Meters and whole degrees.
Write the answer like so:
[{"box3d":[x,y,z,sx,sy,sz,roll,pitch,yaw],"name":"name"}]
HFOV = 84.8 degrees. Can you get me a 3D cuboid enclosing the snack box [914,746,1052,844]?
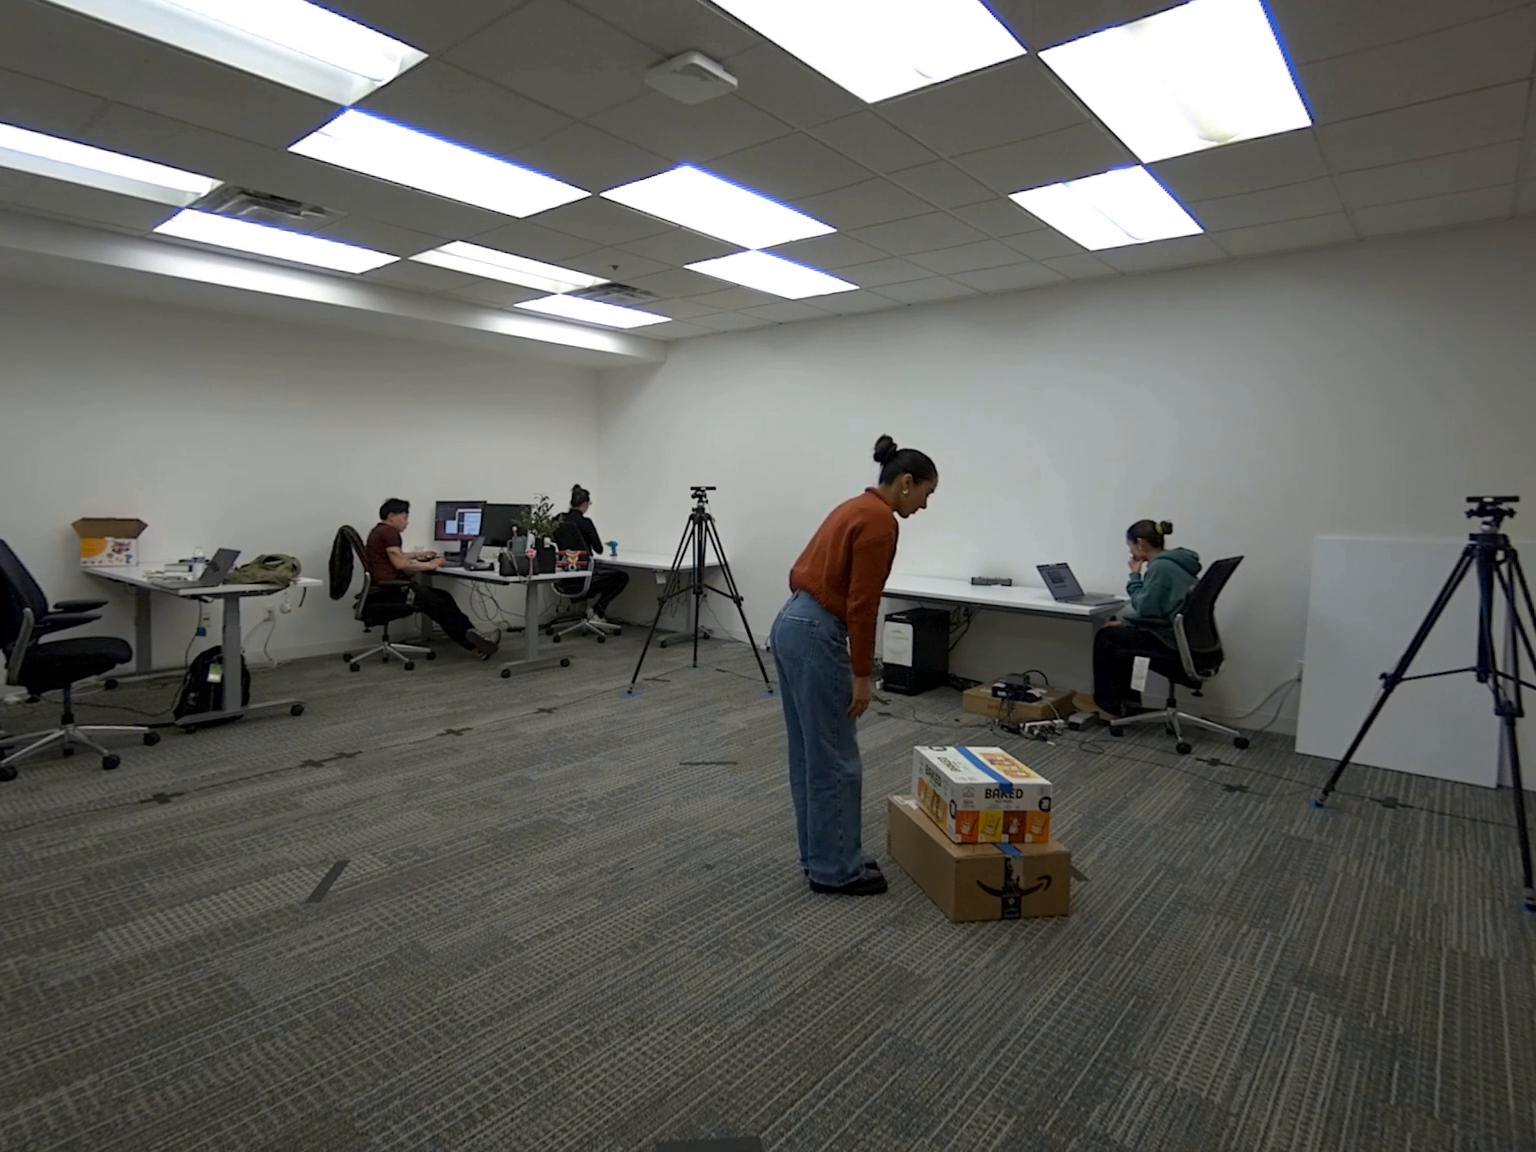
[{"box3d":[0.748,0.774,3.051,0.337,0.205,0.411,2,6,-10],"name":"snack box"}]
